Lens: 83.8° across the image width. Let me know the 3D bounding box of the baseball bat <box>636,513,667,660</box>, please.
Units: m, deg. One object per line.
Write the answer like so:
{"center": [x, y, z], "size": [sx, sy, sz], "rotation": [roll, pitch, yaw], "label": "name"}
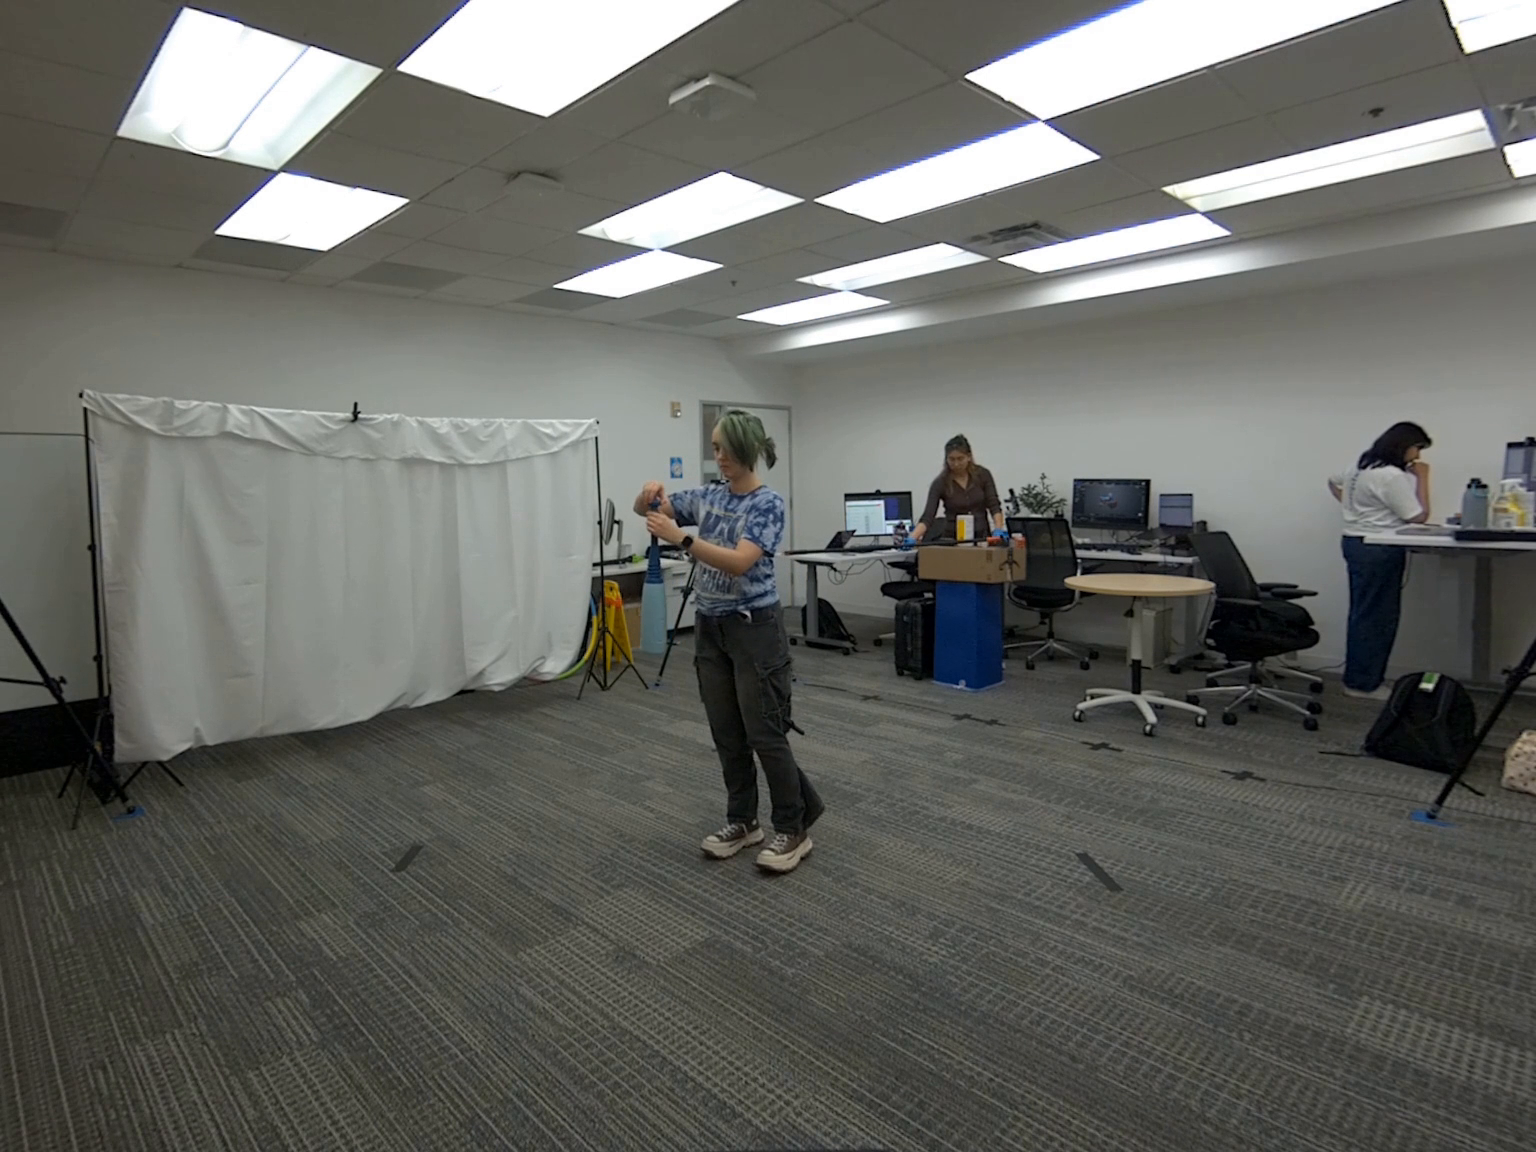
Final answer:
{"center": [-0.406, 0.008, 2.977], "size": [0.089, 0.542, 0.089], "rotation": [-1, 1, -2], "label": "baseball bat"}
